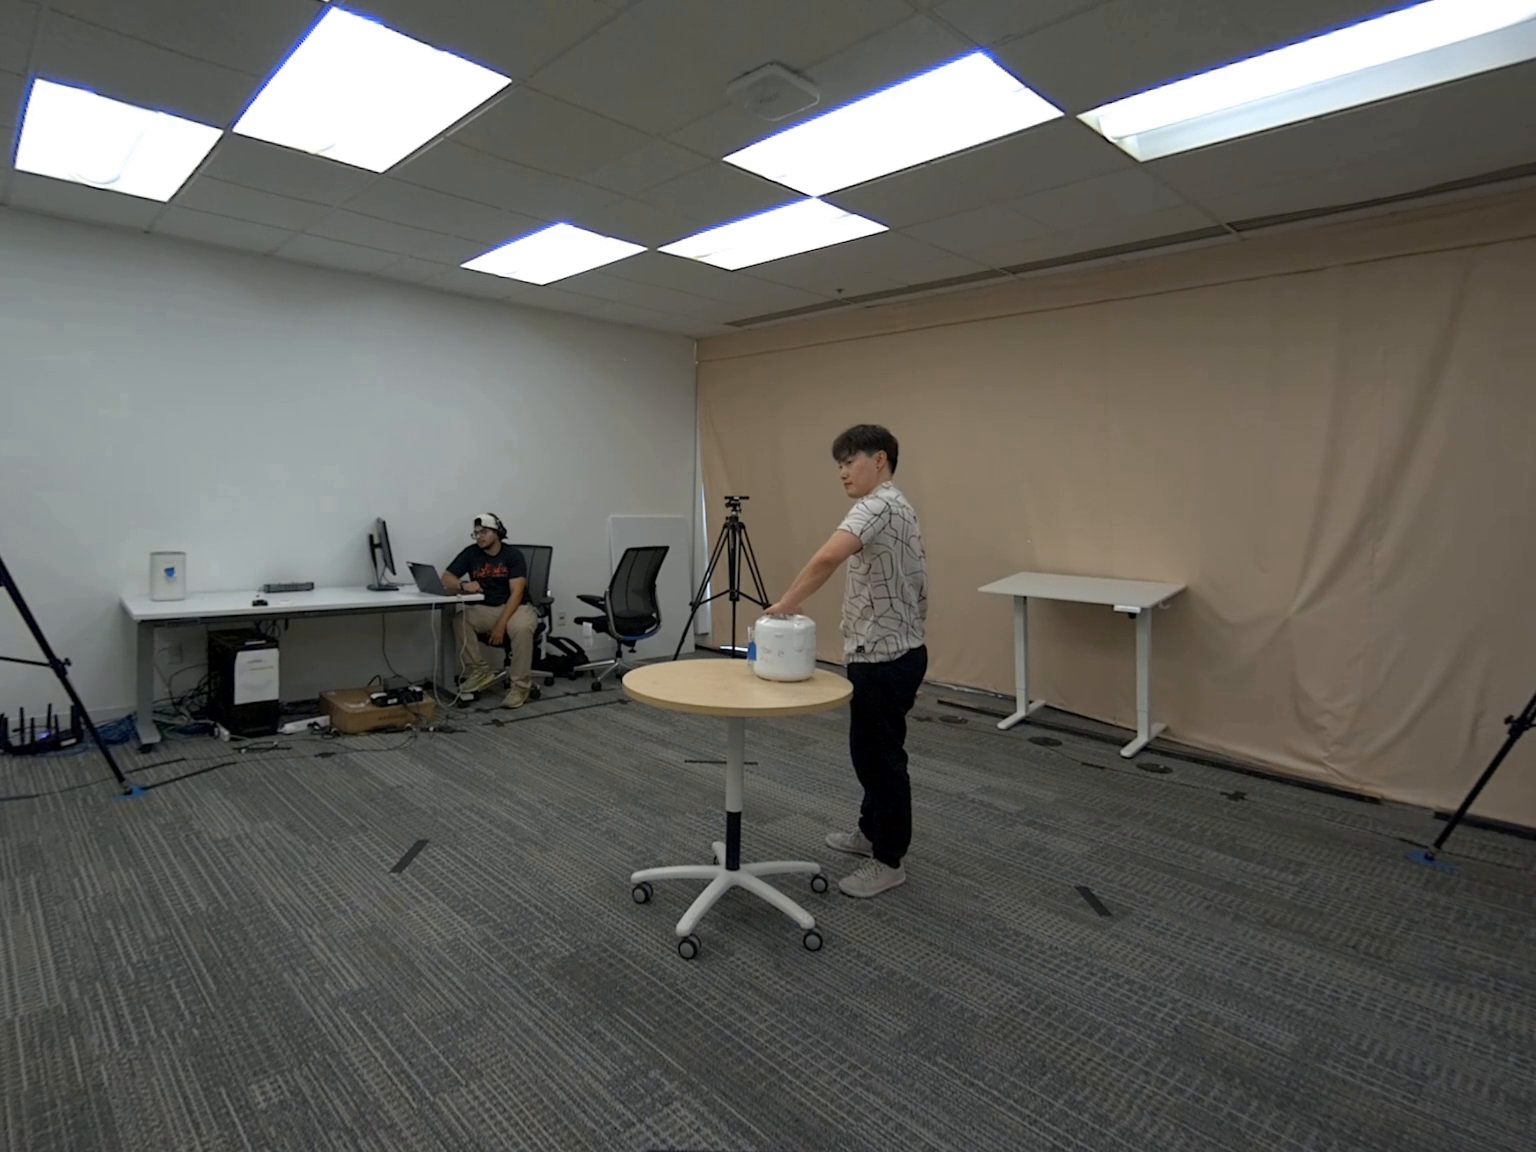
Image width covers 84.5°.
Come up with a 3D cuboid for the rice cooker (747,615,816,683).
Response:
[{"bbox_3d":[0.055,0.232,2.877,0.214,0.232,0.225,-1,6,-24],"label":"rice cooker"}]
